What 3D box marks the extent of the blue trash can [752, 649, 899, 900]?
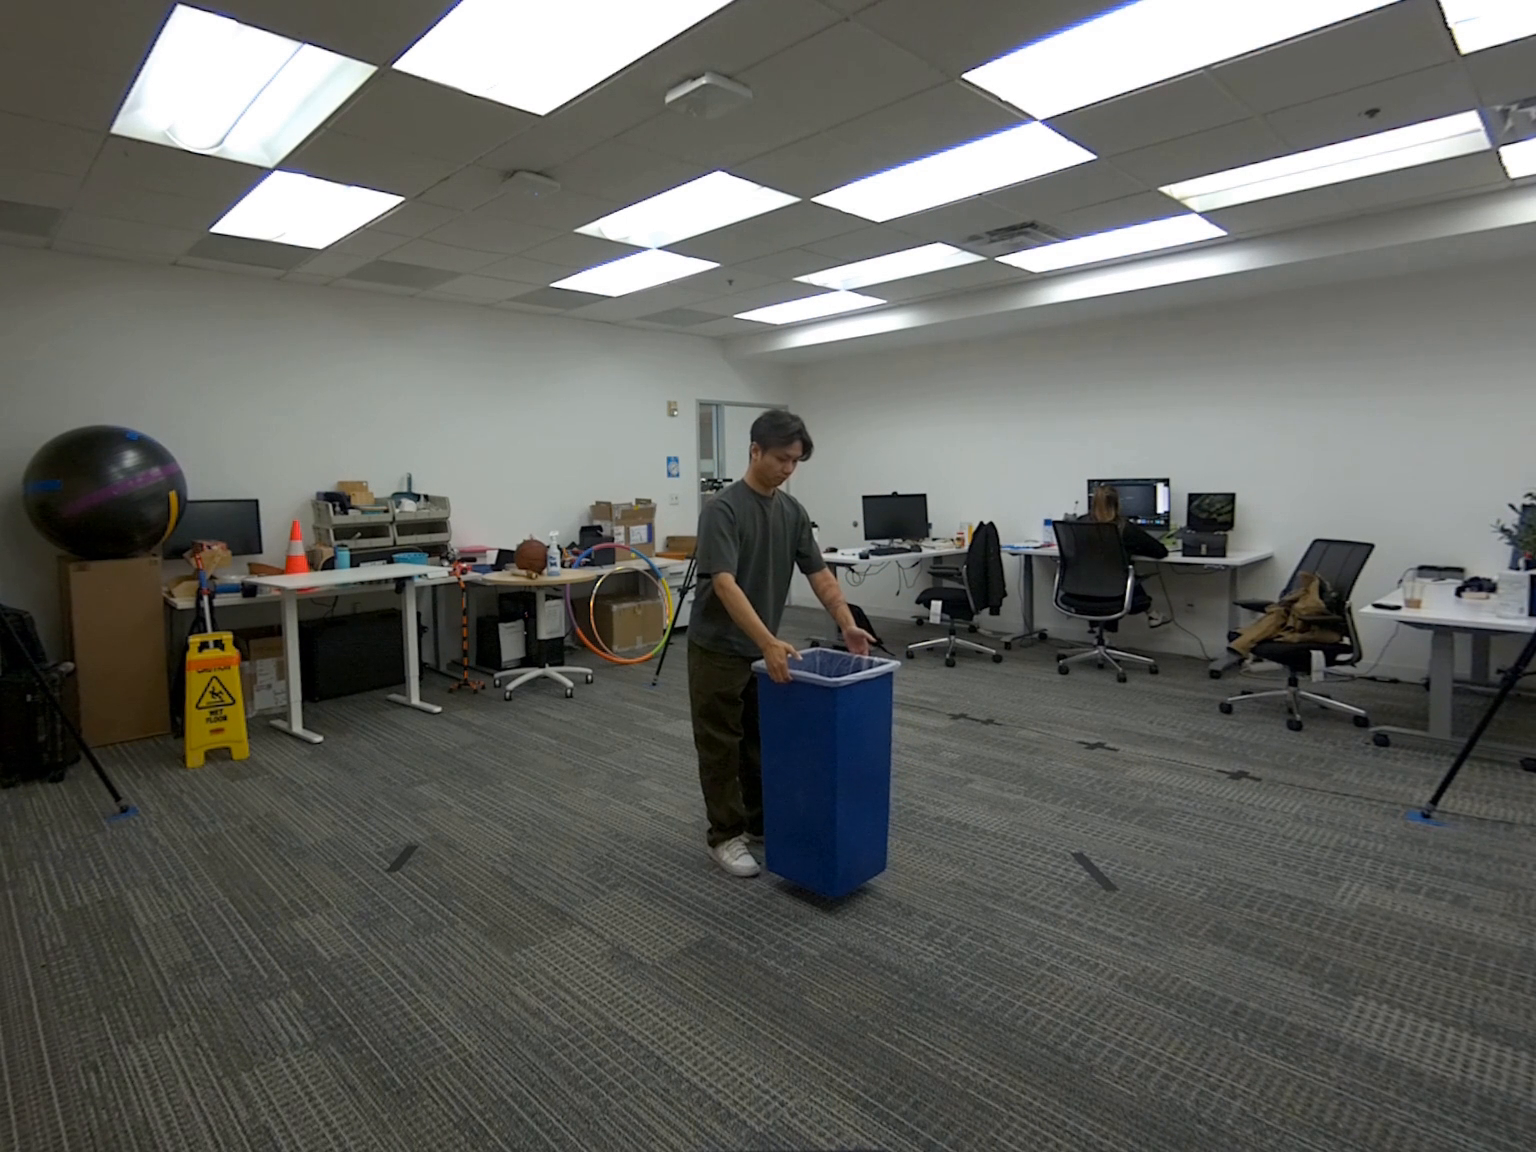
[{"bbox_3d":[0.207,0.646,2.878,0.385,0.711,0.368,2,5,43],"label":"blue trash can"}]
